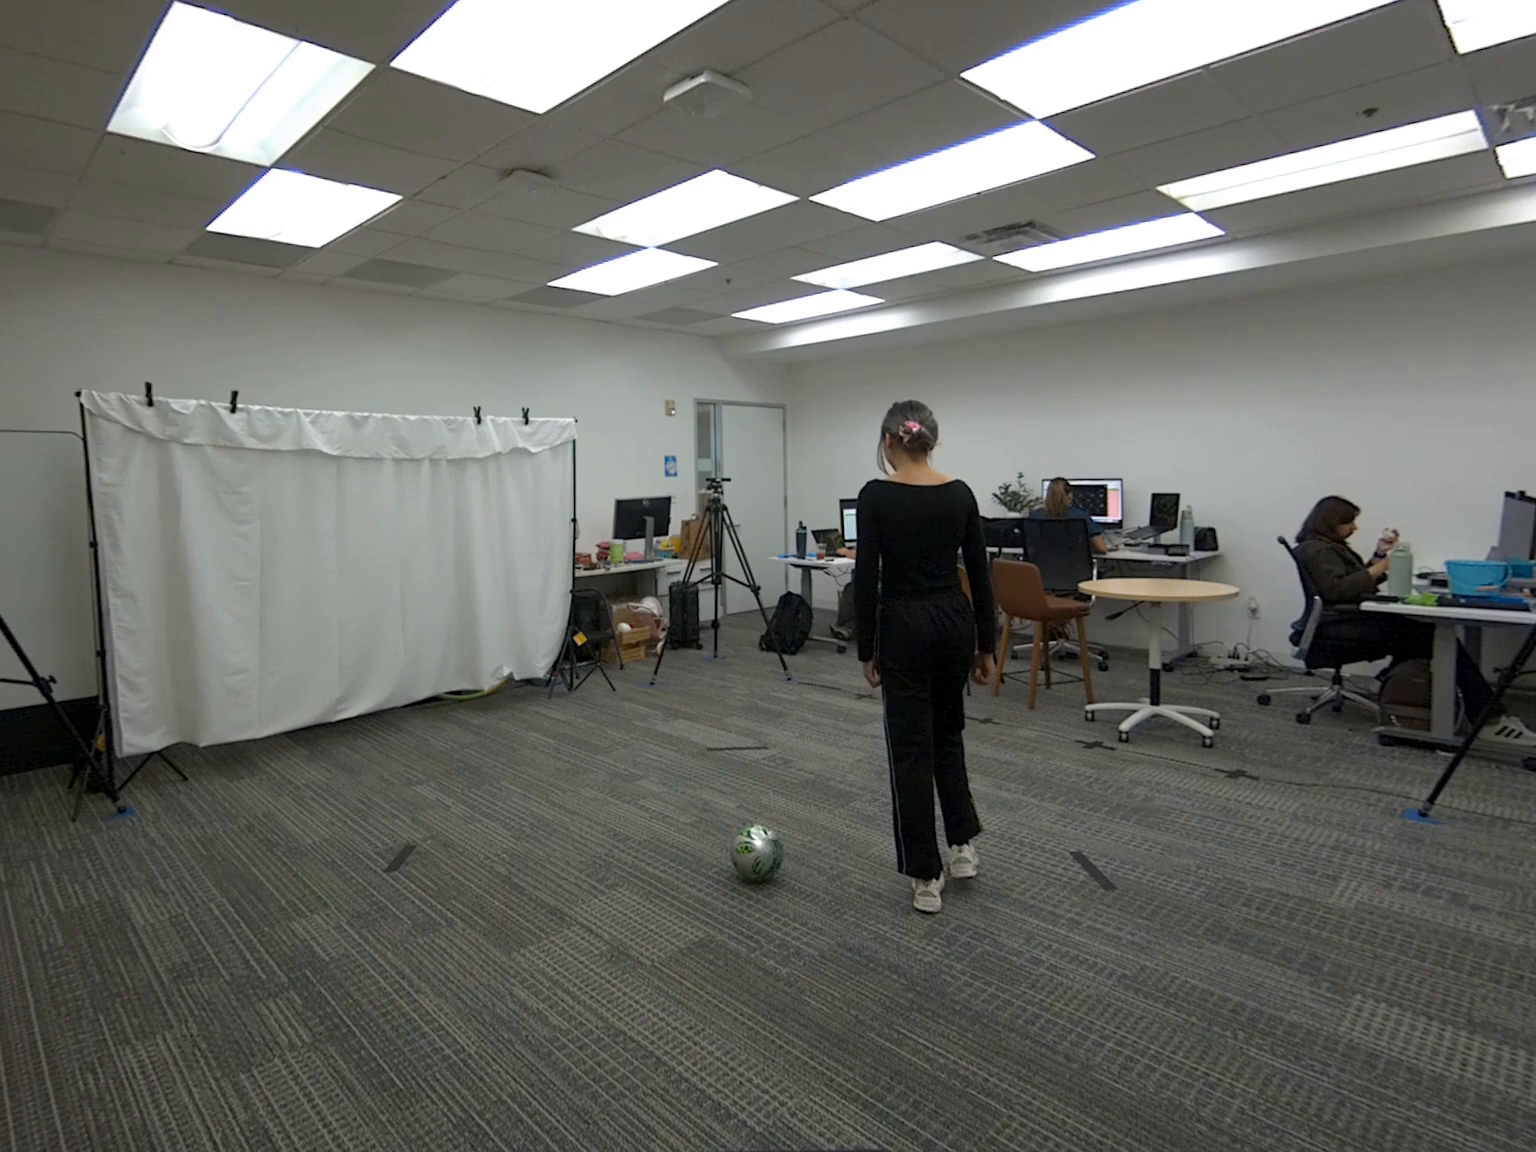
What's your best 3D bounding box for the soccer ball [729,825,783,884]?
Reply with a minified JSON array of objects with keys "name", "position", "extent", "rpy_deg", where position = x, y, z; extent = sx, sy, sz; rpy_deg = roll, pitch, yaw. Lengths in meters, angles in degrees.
[{"name":"soccer ball","position":[-0.034,0.966,2.978],"extent":[0.187,0.187,0.188],"rpy_deg":[-1,5,-2]}]
